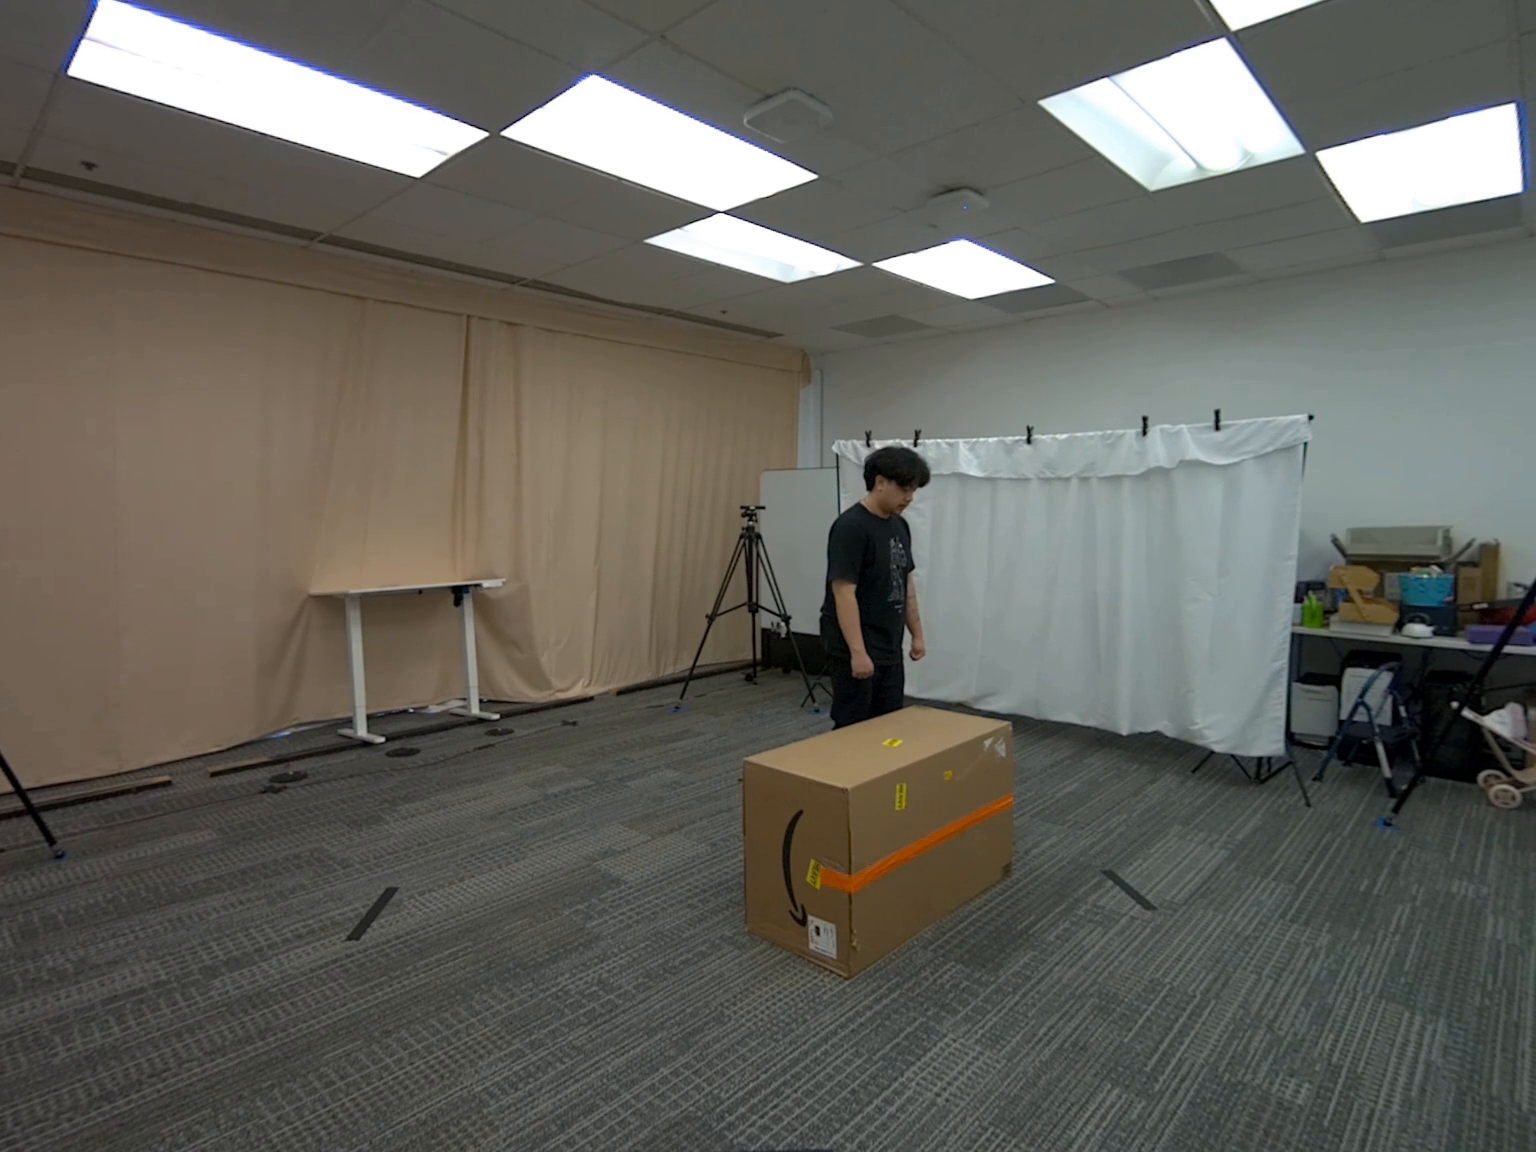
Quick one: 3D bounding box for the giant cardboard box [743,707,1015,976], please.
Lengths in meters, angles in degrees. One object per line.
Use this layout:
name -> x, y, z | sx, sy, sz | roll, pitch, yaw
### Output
giant cardboard box -> 0.423, 0.861, 2.952 | 0.462, 0.582, 0.996 | 4, 7, 44
